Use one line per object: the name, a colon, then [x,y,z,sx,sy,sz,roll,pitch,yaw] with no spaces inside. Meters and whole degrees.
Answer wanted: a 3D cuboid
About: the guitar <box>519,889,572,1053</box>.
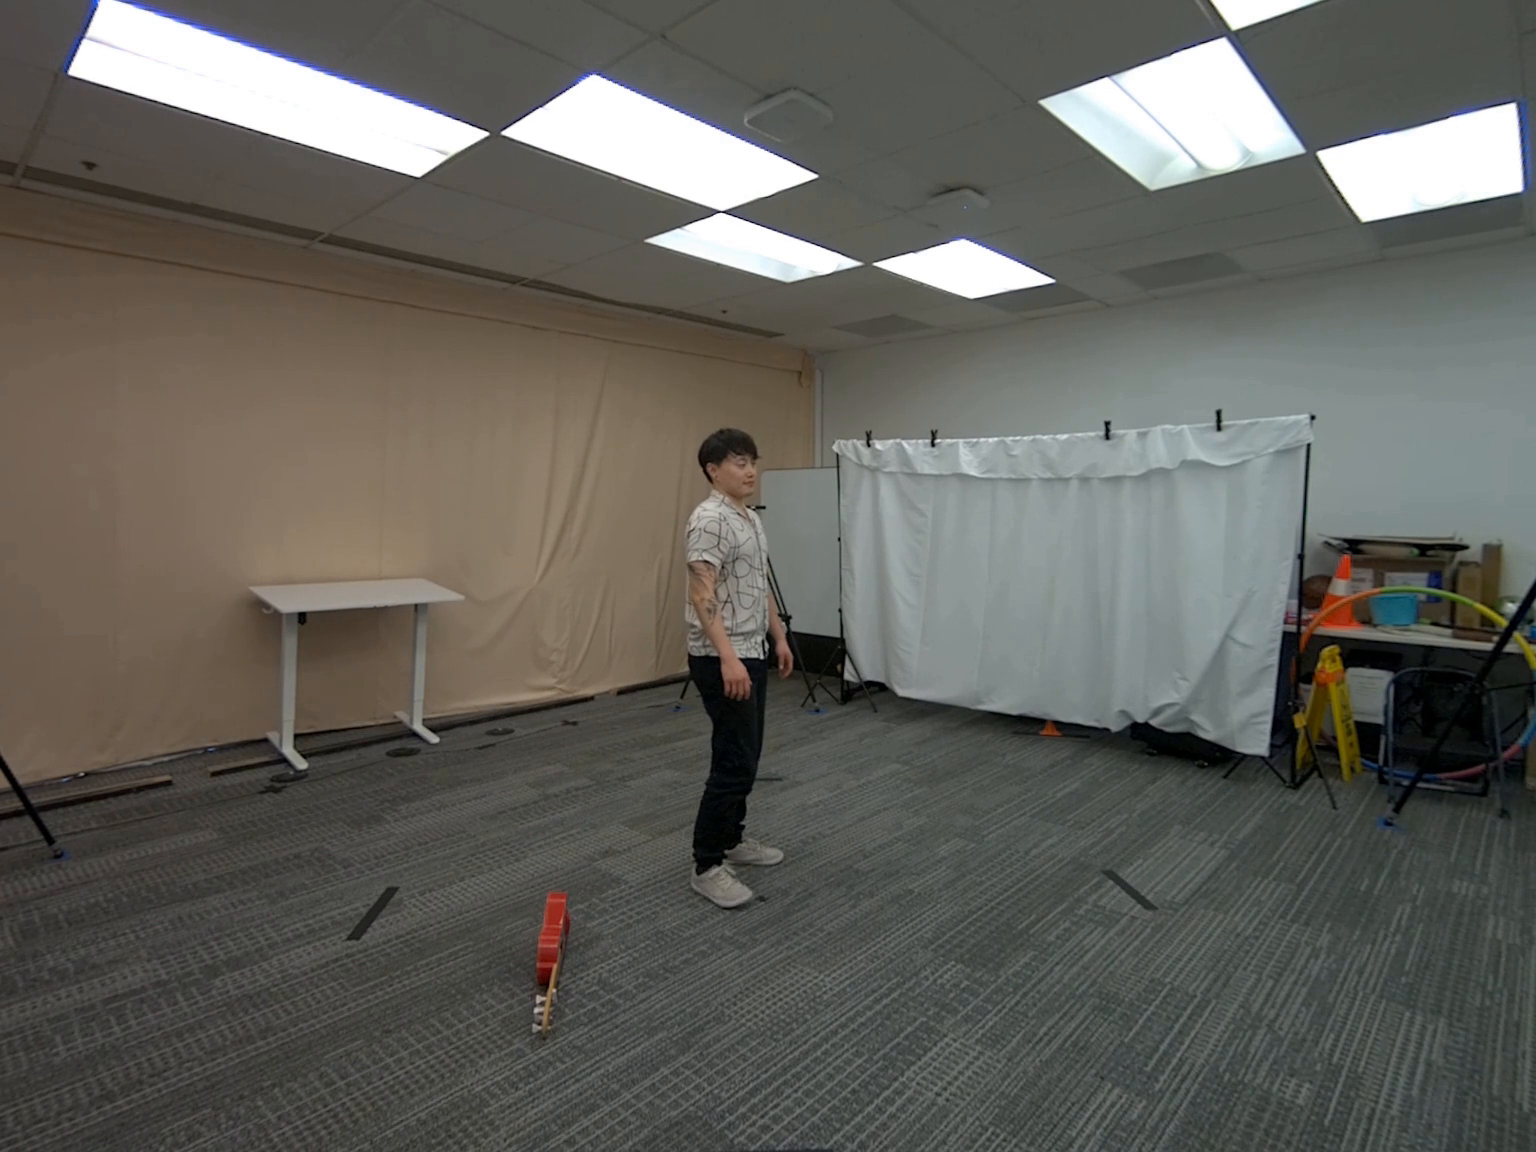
guitar: [-0.630,1.106,2.425,0.070,0.192,0.502,4,5,-8]
